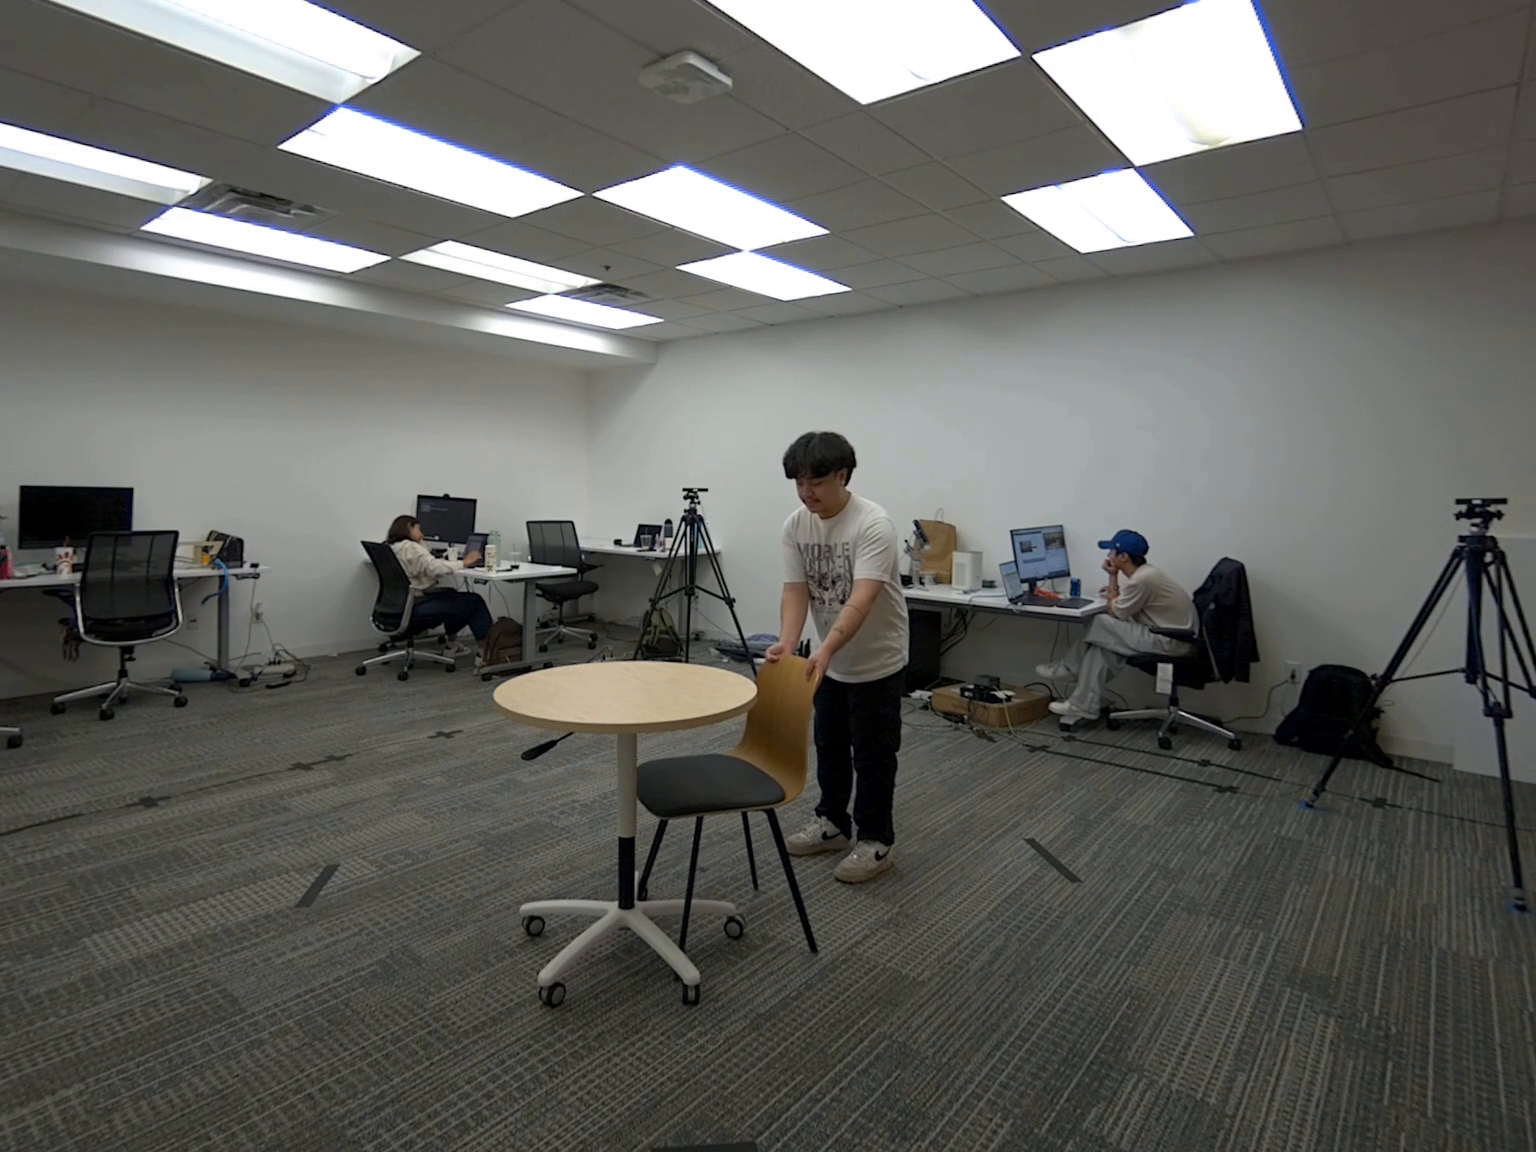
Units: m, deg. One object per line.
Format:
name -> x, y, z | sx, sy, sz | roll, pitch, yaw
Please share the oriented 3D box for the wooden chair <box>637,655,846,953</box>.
wooden chair -> -0.152, 0.685, 2.660 | 0.510, 0.876, 0.491 | 4, 2, -24
